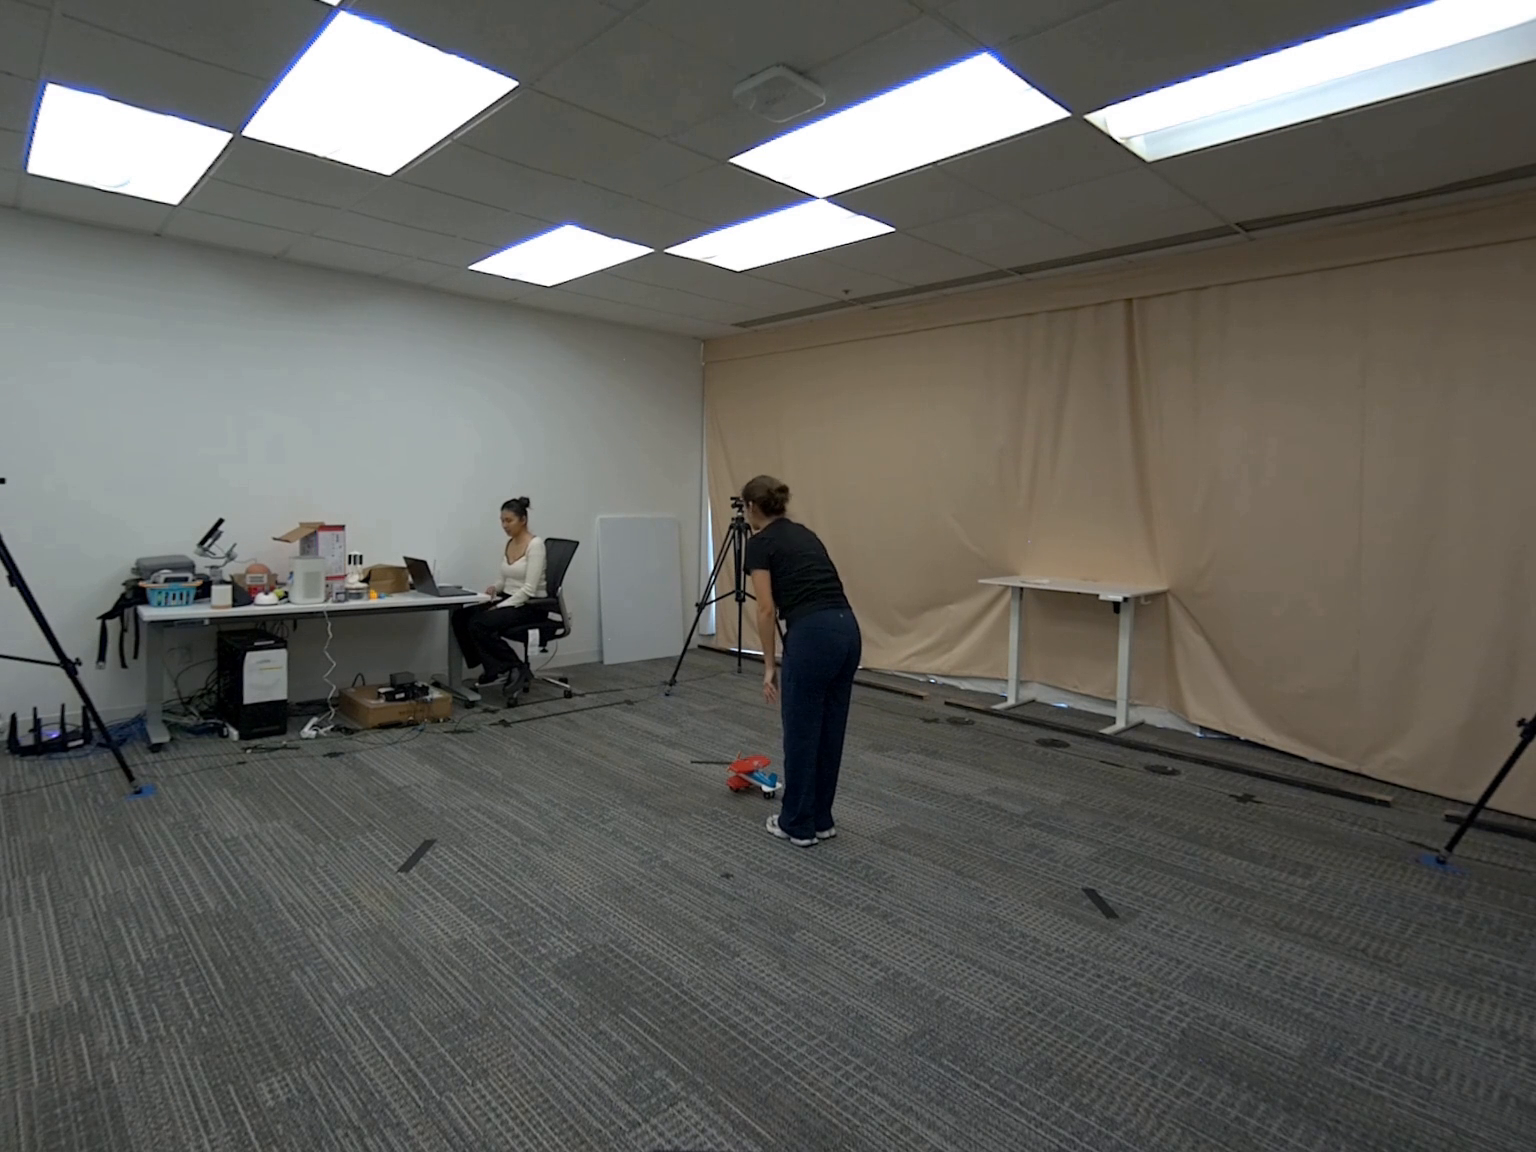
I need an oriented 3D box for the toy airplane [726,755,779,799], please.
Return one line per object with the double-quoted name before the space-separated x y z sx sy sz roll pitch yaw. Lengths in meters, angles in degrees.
"toy airplane" -0.067 0.959 4.002 0.262 0.156 0.249 1 4 12
